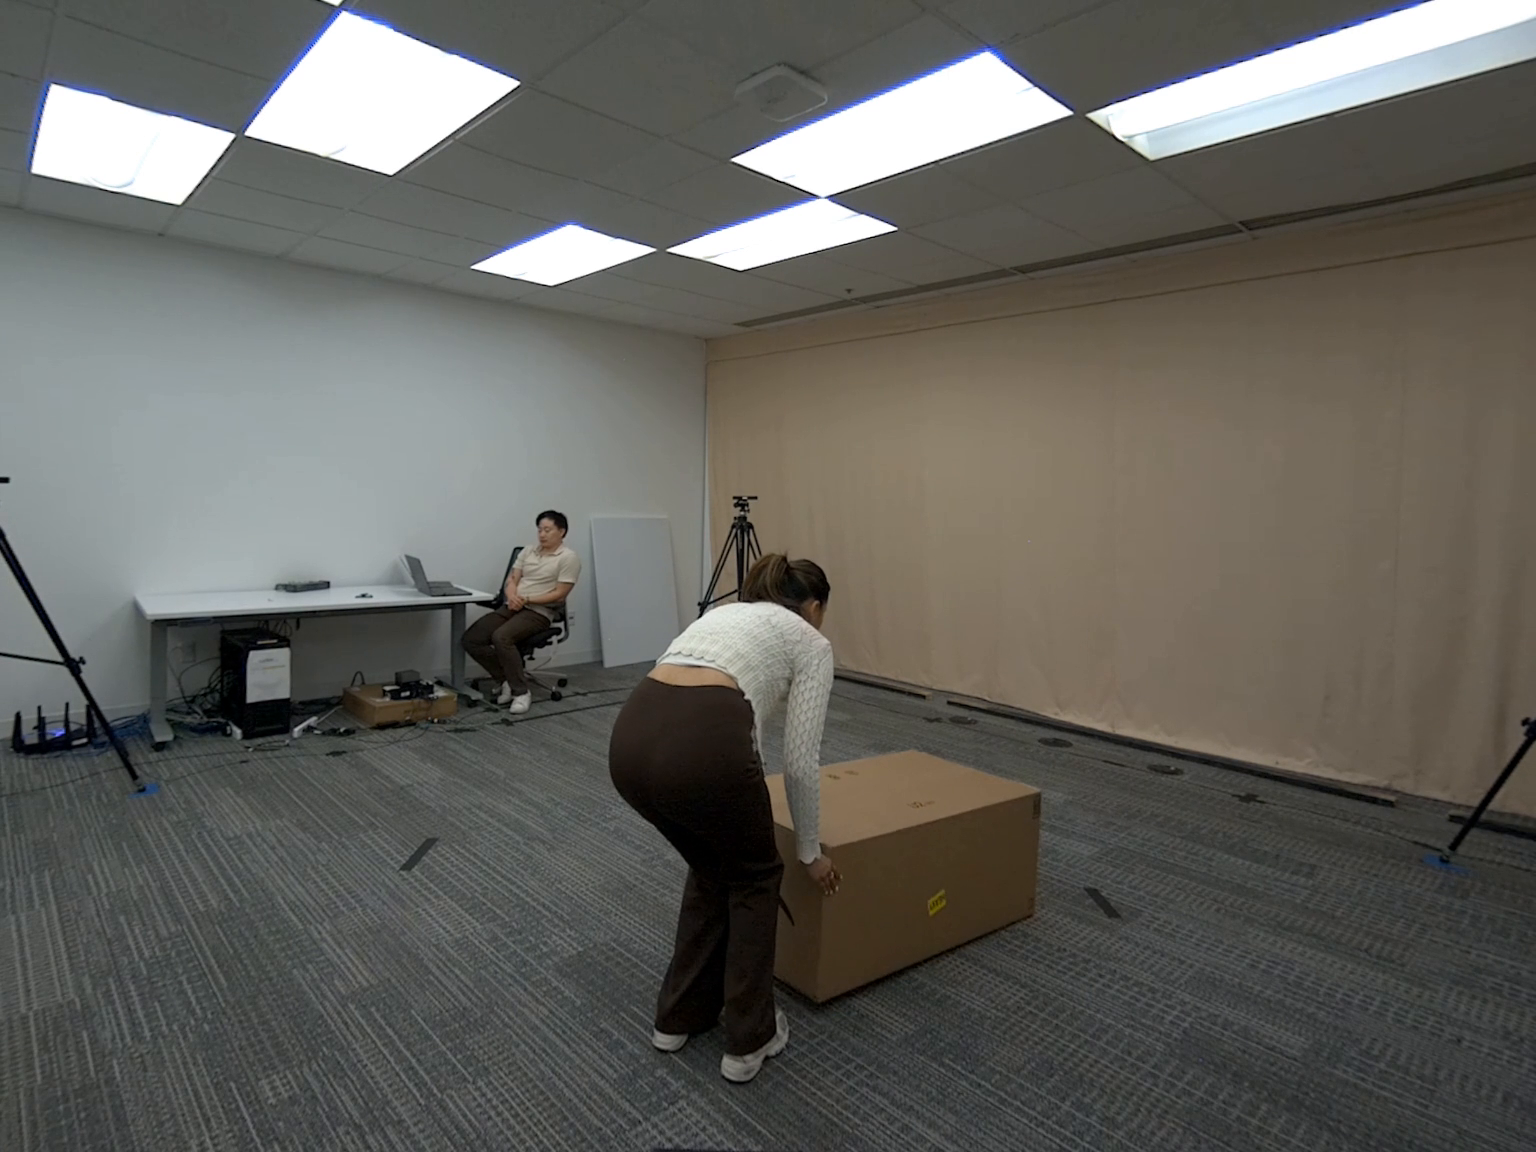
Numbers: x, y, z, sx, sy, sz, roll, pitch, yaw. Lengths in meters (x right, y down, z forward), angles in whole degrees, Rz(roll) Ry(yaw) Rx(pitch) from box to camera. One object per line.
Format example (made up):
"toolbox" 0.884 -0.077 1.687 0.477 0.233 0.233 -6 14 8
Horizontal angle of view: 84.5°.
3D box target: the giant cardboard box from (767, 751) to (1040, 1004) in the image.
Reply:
"giant cardboard box" 0.342 0.911 2.767 1.002 0.425 0.592 0 4 -39
